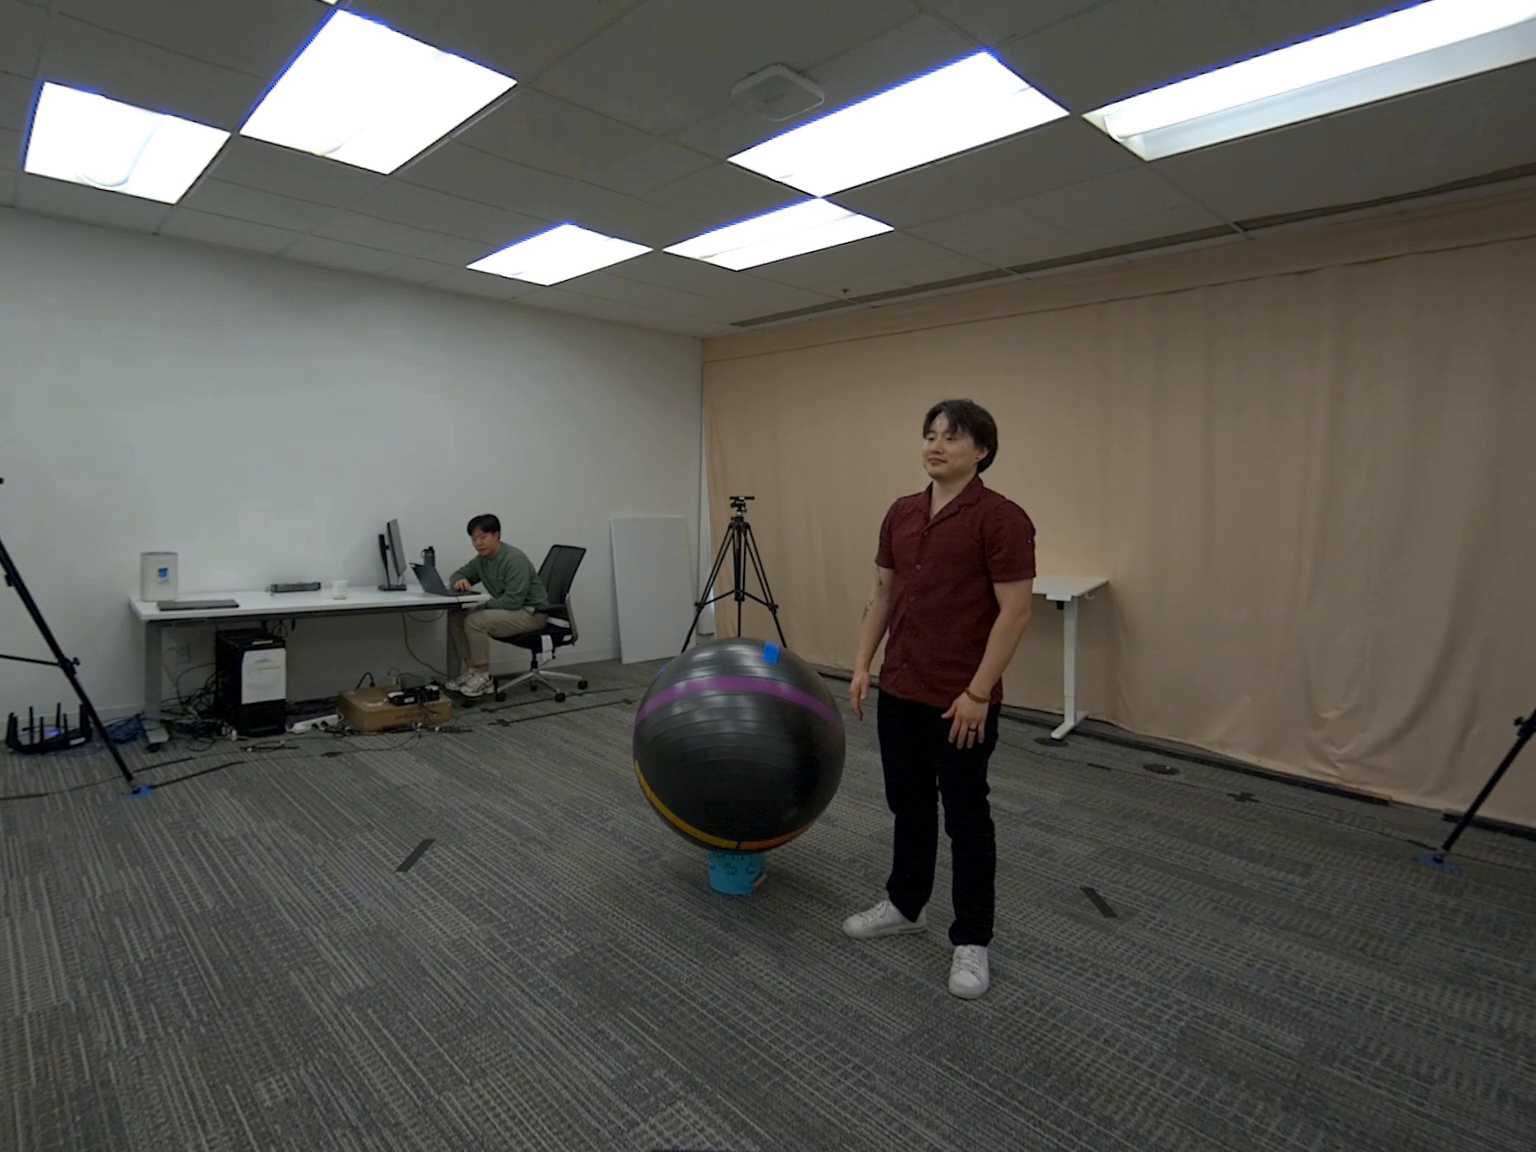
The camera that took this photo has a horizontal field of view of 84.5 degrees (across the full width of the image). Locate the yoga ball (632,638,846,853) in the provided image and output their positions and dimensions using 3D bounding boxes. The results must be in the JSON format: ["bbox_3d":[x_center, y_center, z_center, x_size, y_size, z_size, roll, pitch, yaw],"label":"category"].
[{"bbox_3d":[-0.109,0.602,3.032,0.757,0.756,0.761,1,4,-1],"label":"yoga ball"}]
